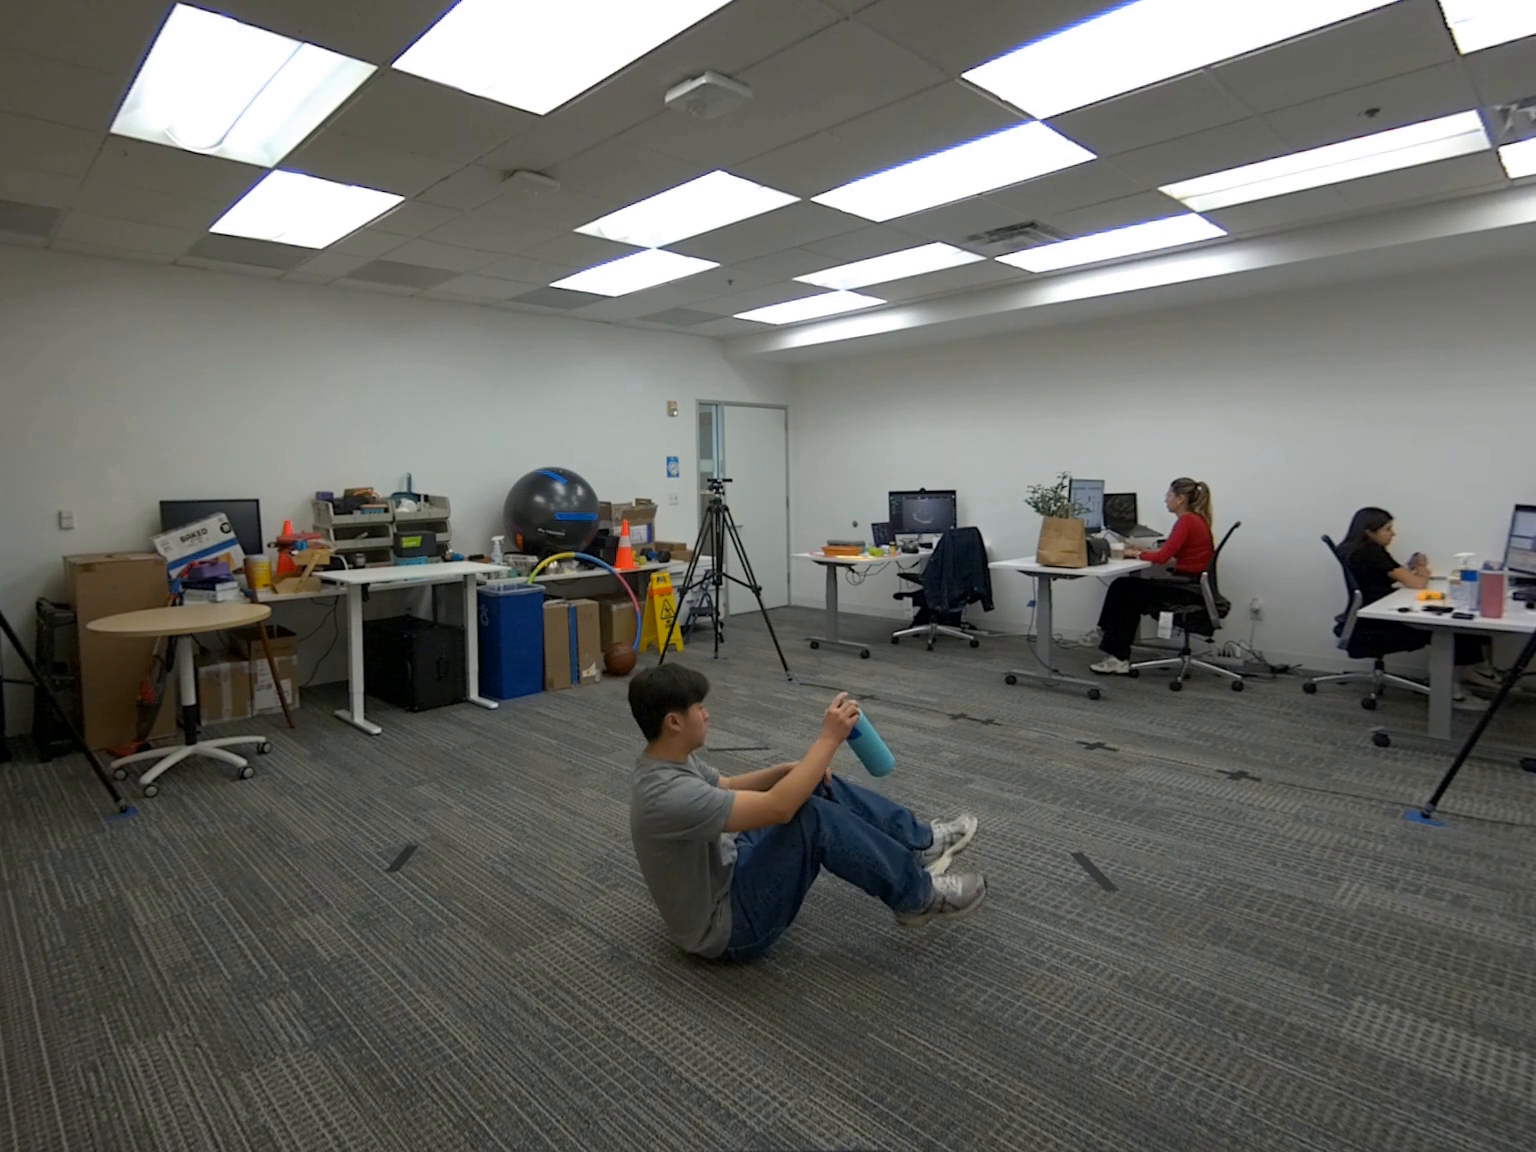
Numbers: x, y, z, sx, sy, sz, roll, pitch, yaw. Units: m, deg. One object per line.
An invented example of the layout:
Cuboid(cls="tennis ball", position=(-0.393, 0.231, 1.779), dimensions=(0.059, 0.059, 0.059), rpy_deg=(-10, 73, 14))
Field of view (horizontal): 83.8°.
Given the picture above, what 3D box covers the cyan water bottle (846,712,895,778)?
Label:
Cuboid(cls="cyan water bottle", position=(0.288, 0.477, 2.557), dimensions=(0.093, 0.275, 0.094), rpy_deg=(-27, 26, 13))
